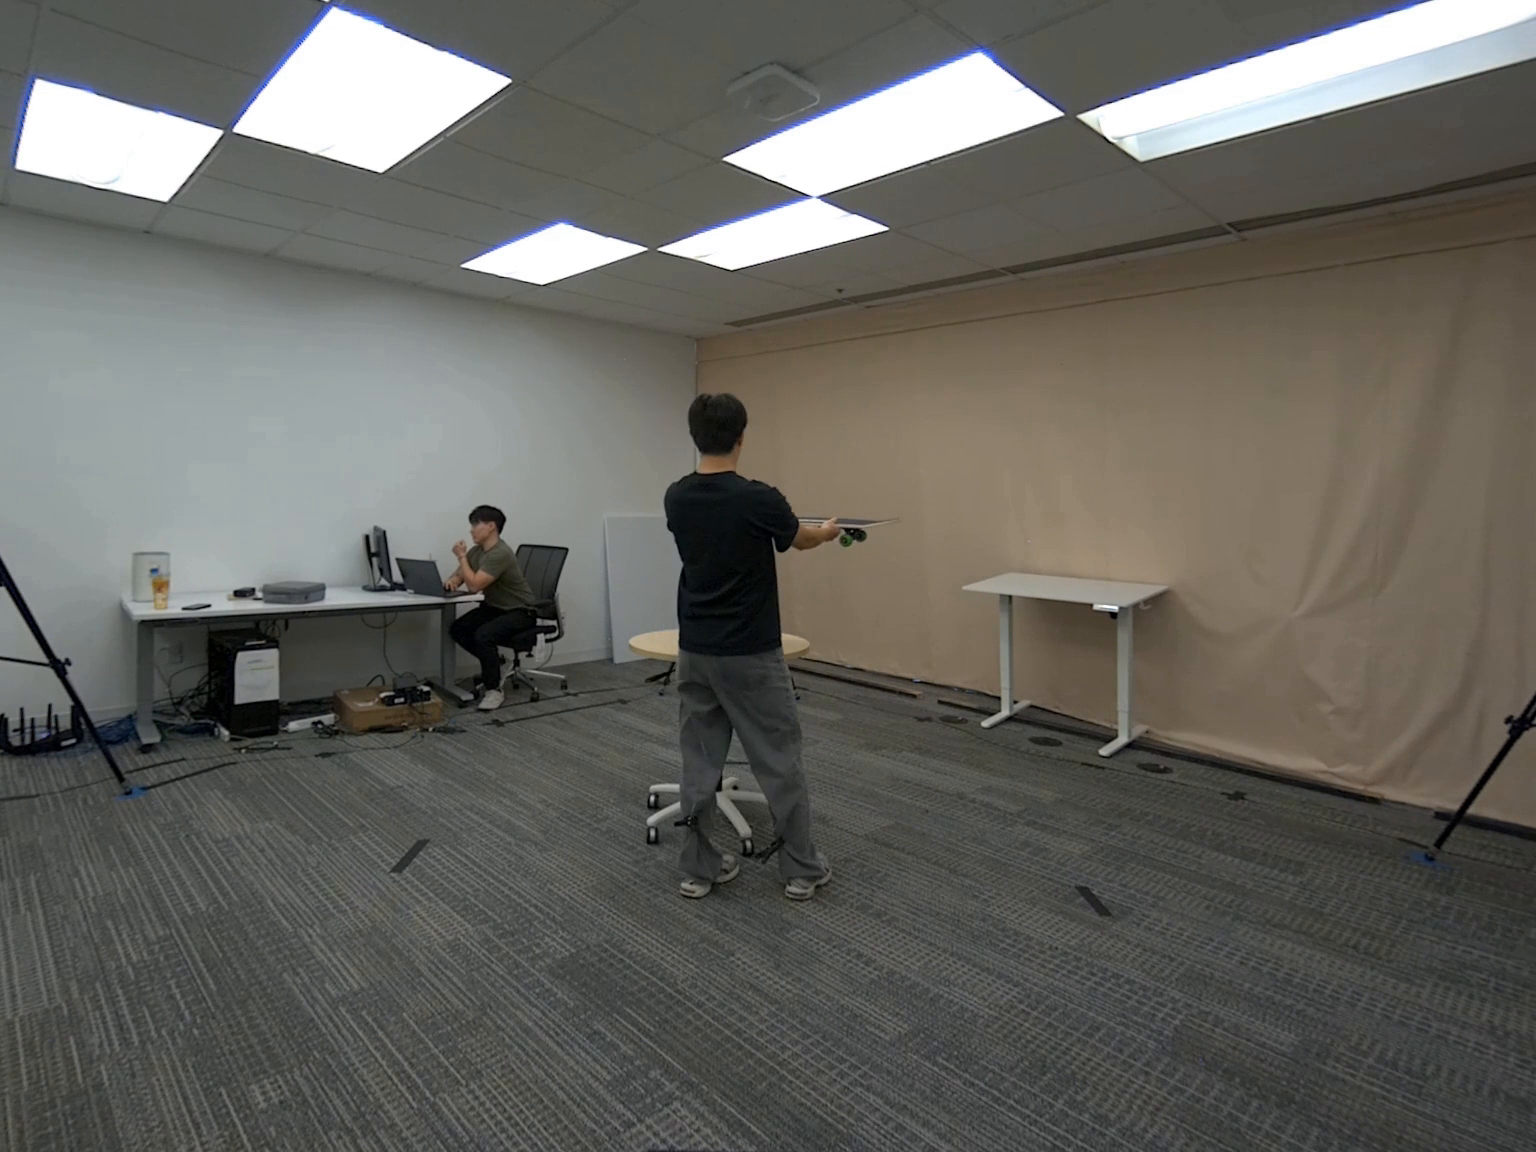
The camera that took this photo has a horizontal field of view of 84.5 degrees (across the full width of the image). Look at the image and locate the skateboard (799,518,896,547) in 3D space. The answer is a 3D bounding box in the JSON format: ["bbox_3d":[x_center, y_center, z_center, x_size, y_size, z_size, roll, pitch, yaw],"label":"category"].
[{"bbox_3d":[0.156,-0.198,3.490,0.803,0.109,0.190,4,12,31],"label":"skateboard"}]
